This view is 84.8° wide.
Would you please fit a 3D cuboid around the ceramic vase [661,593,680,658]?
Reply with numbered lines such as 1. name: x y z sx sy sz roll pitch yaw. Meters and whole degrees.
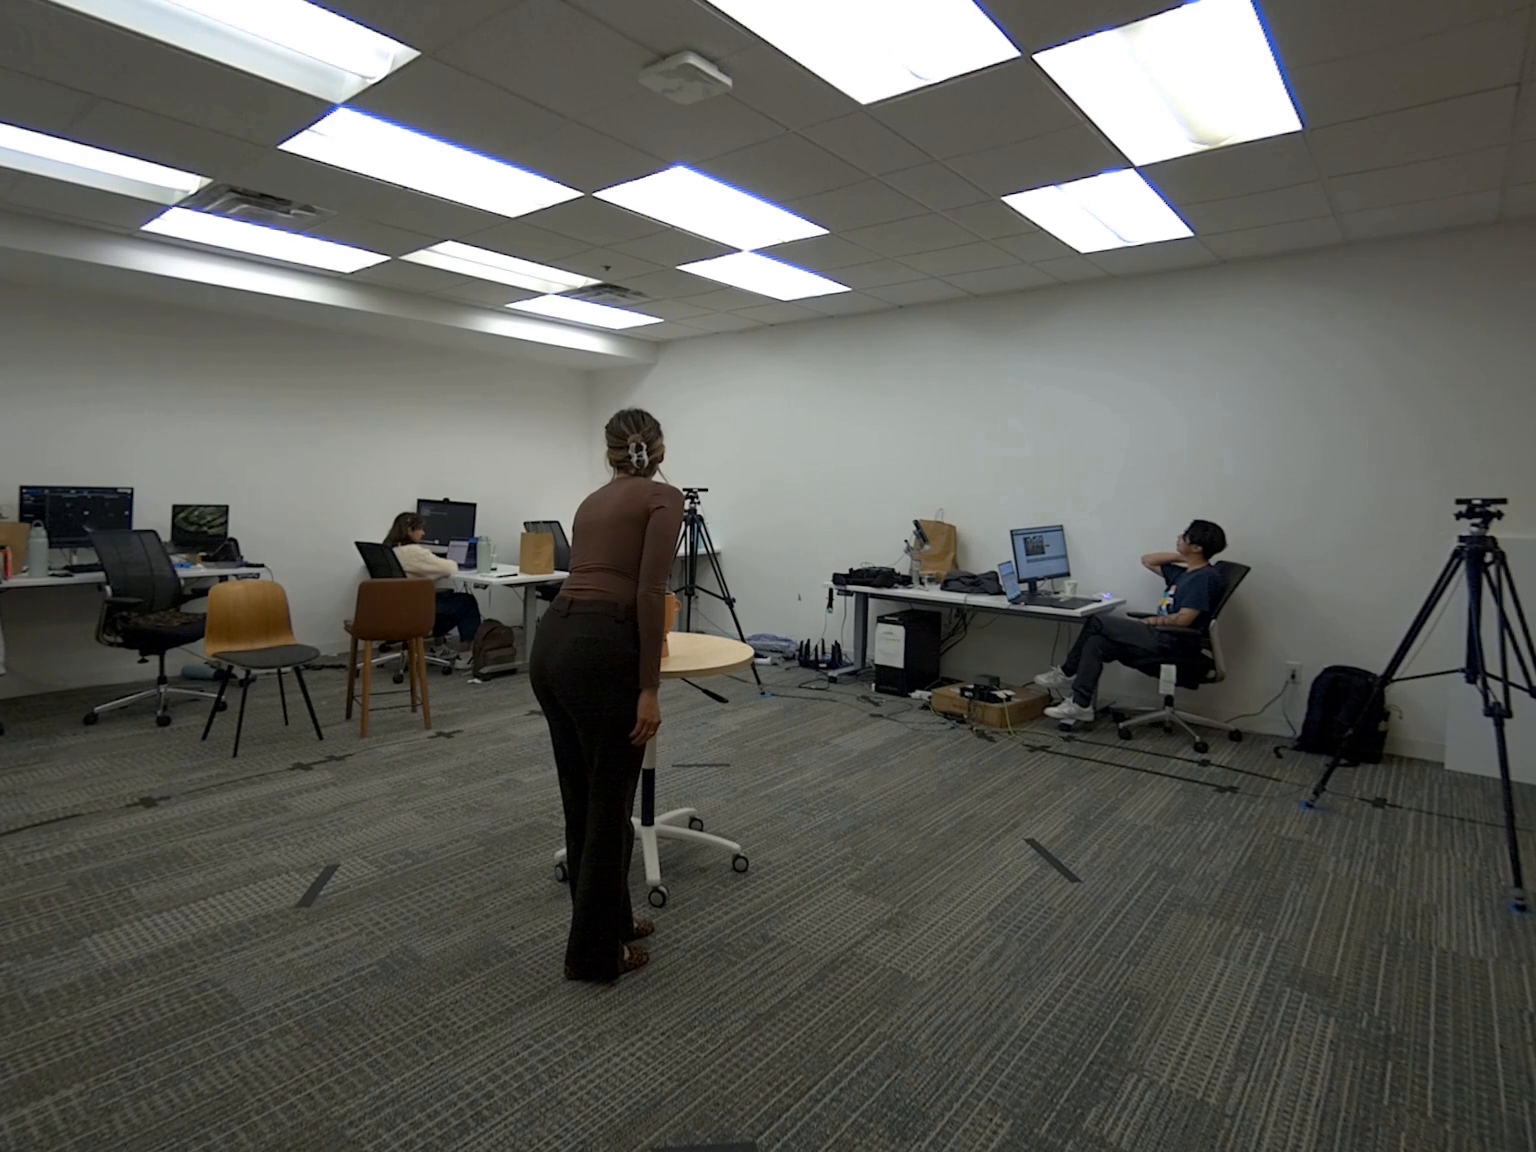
1. ceramic vase: -0.405 0.168 3.003 0.160 0.219 0.134 1 3 8
